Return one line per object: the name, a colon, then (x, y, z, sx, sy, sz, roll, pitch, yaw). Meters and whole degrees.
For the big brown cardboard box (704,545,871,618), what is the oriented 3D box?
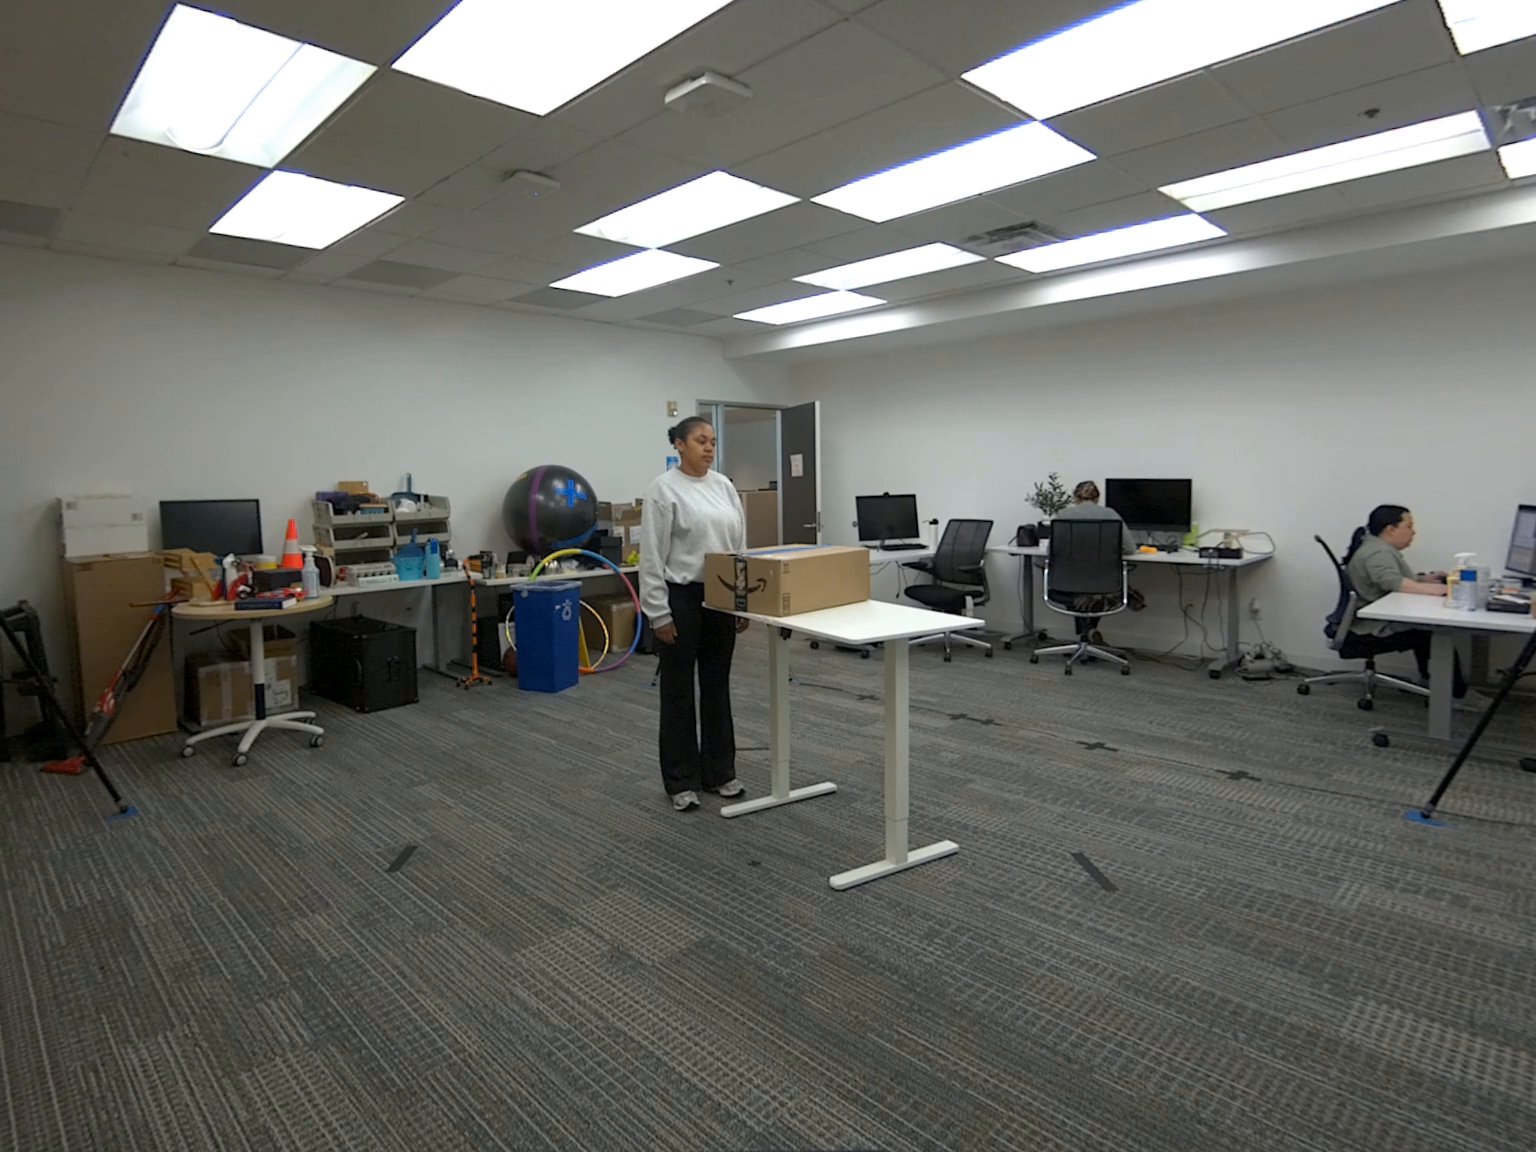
big brown cardboard box: (0.073, 0.007, 3.498, 0.430, 0.232, 0.573, 5, 8, 44)
